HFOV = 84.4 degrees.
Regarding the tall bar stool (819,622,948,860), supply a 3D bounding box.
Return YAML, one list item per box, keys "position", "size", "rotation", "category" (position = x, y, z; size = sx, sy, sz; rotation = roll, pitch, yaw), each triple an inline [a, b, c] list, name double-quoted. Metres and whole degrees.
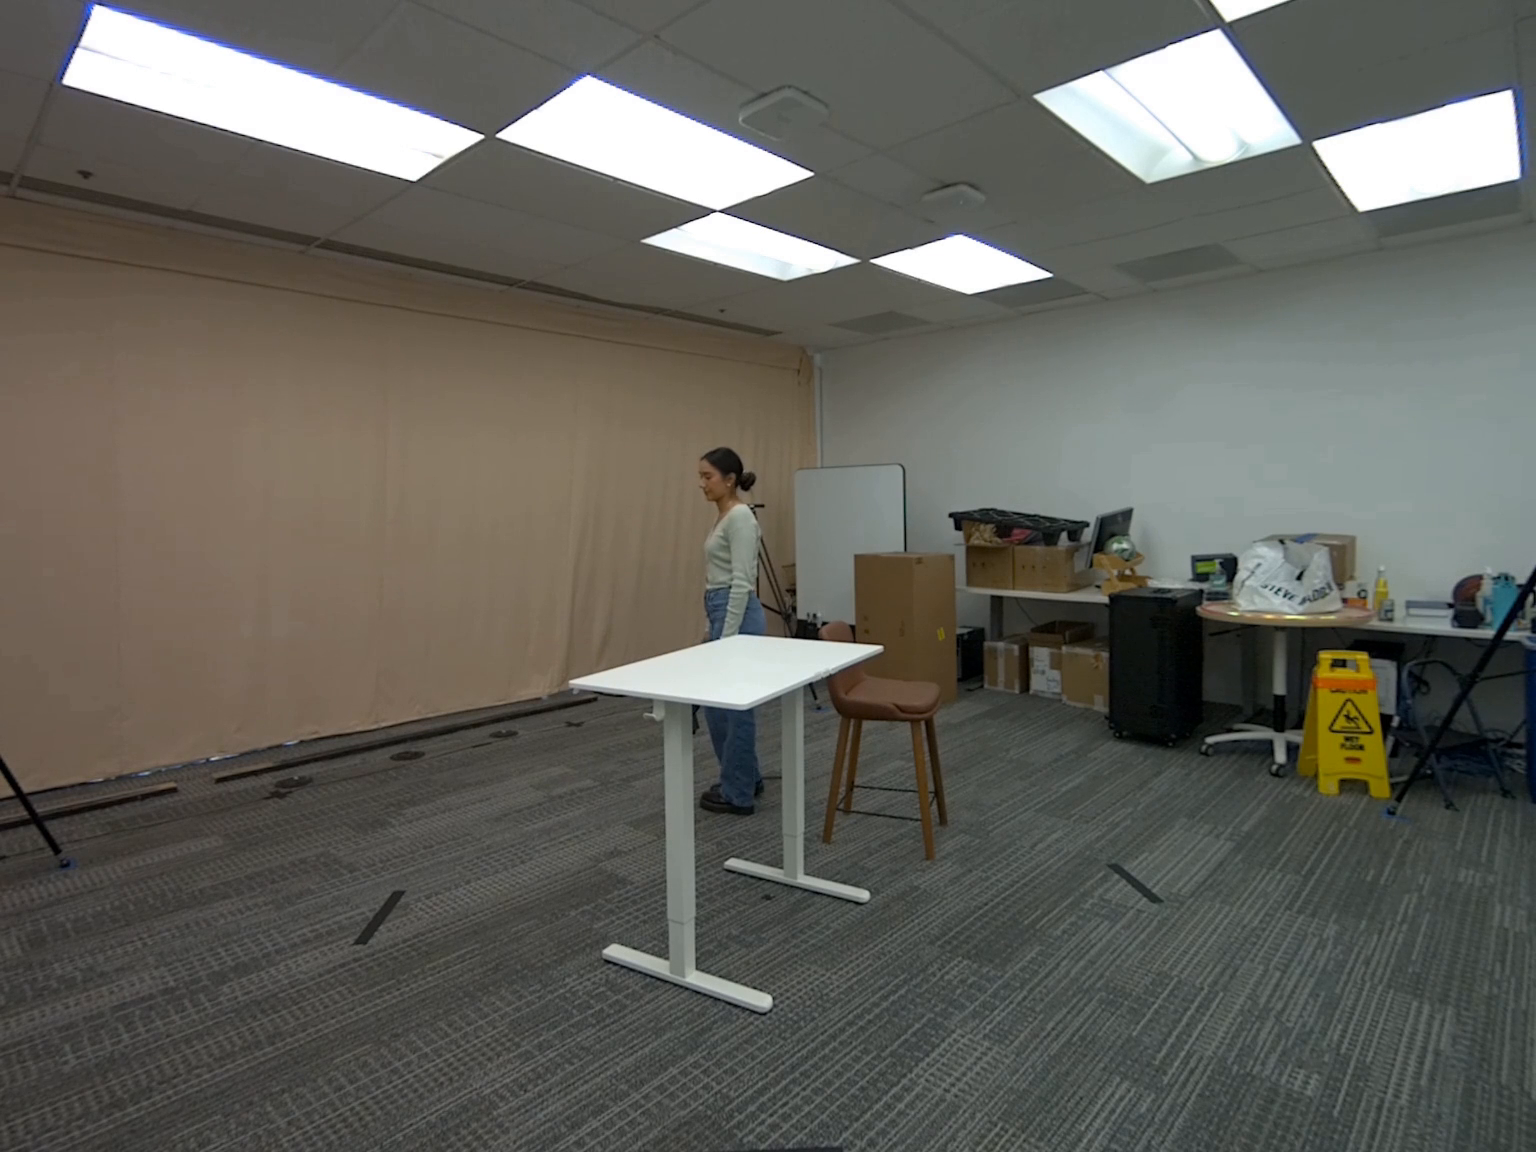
- position: [0.487, 0.649, 3.519]
  size: [0.478, 0.888, 0.447]
  rotation: [-2, 2, 22]
  category: "tall bar stool"
